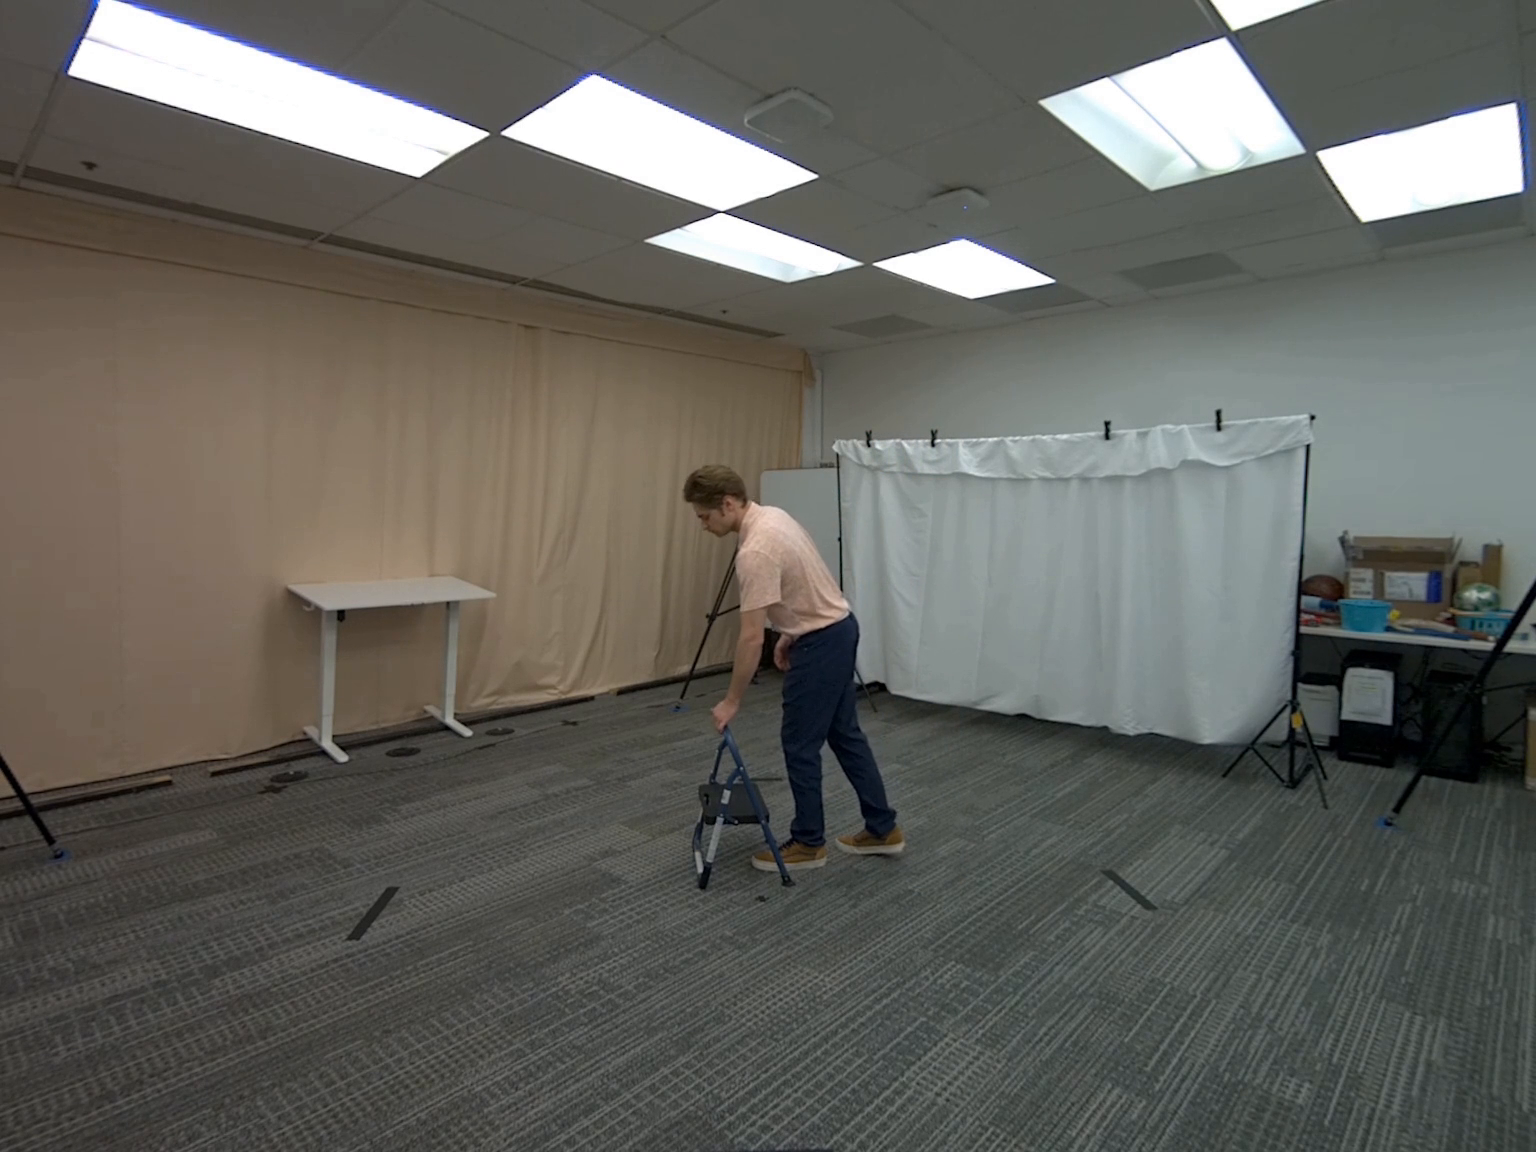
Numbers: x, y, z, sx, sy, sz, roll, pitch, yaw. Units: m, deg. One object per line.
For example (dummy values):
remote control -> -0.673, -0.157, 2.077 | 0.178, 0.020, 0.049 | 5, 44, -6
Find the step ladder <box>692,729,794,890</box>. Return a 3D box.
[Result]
step ladder -> -0.111, 0.821, 3.260 | 0.346, 0.605, 0.435 | -1, 3, -8
